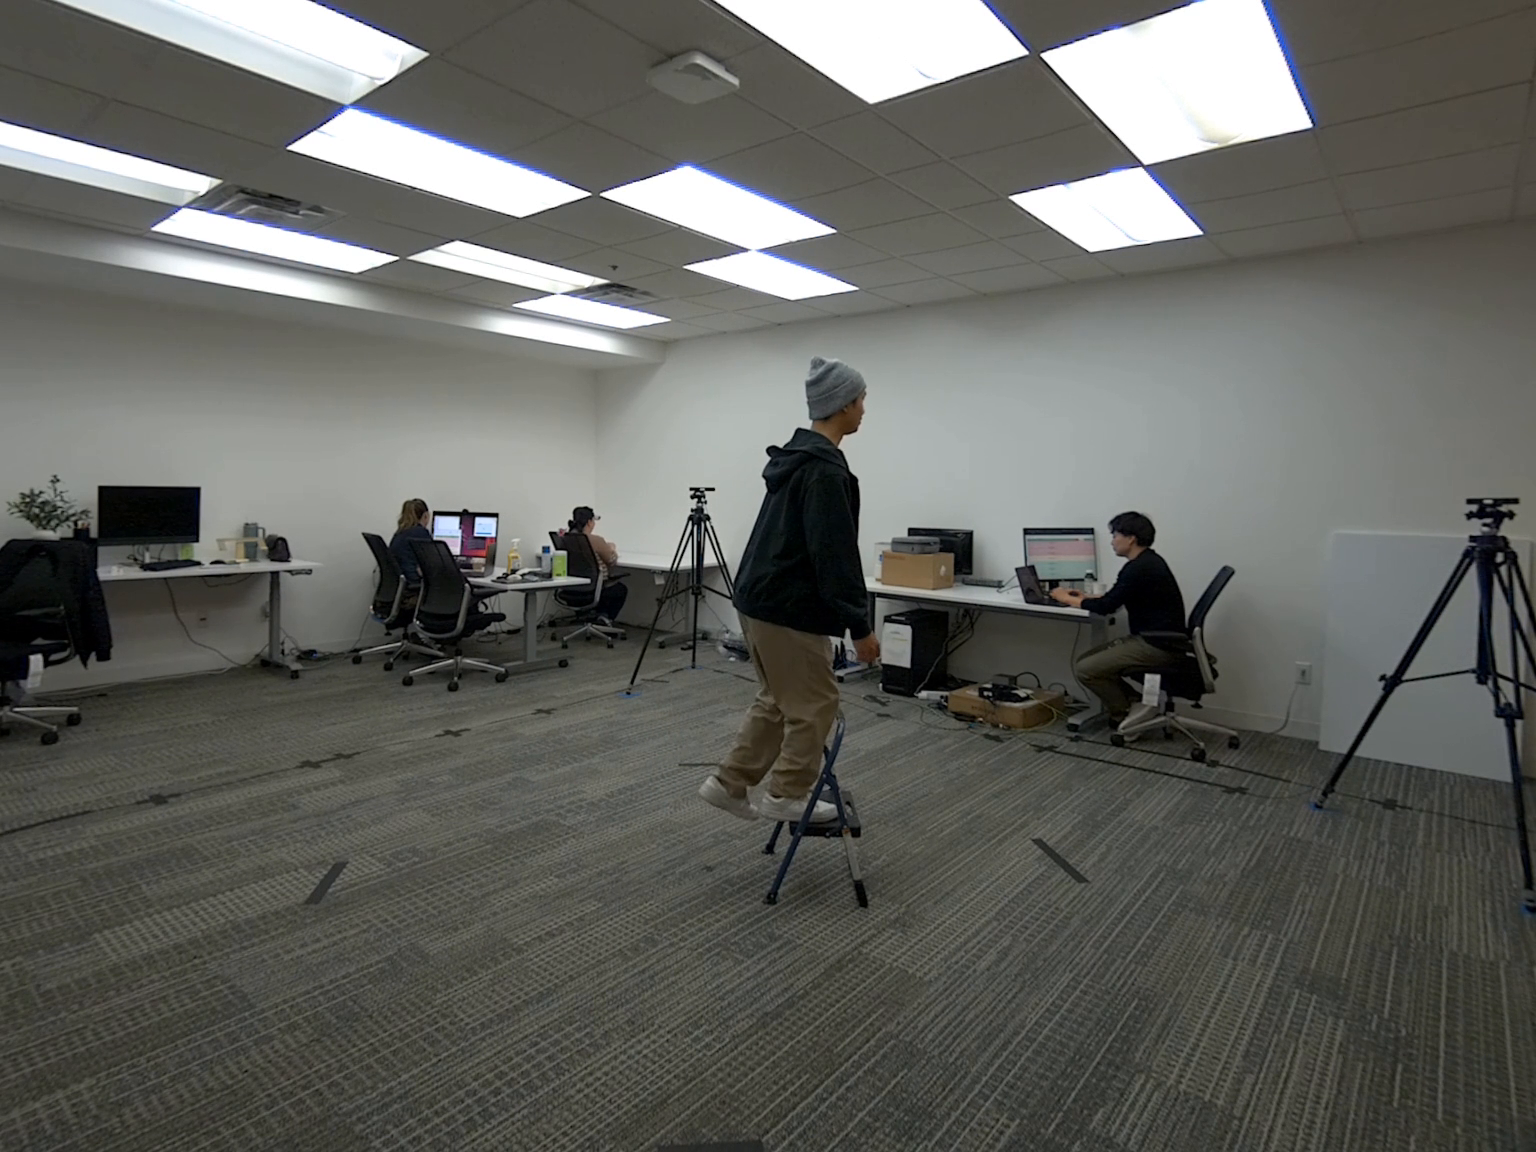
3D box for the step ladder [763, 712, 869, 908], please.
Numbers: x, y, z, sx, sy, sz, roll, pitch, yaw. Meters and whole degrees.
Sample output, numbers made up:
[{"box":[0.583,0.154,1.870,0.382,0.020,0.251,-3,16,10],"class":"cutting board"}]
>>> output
[{"box":[0.161,0.787,3.040,0.350,0.604,0.432,1,3,0],"class":"step ladder"}]
